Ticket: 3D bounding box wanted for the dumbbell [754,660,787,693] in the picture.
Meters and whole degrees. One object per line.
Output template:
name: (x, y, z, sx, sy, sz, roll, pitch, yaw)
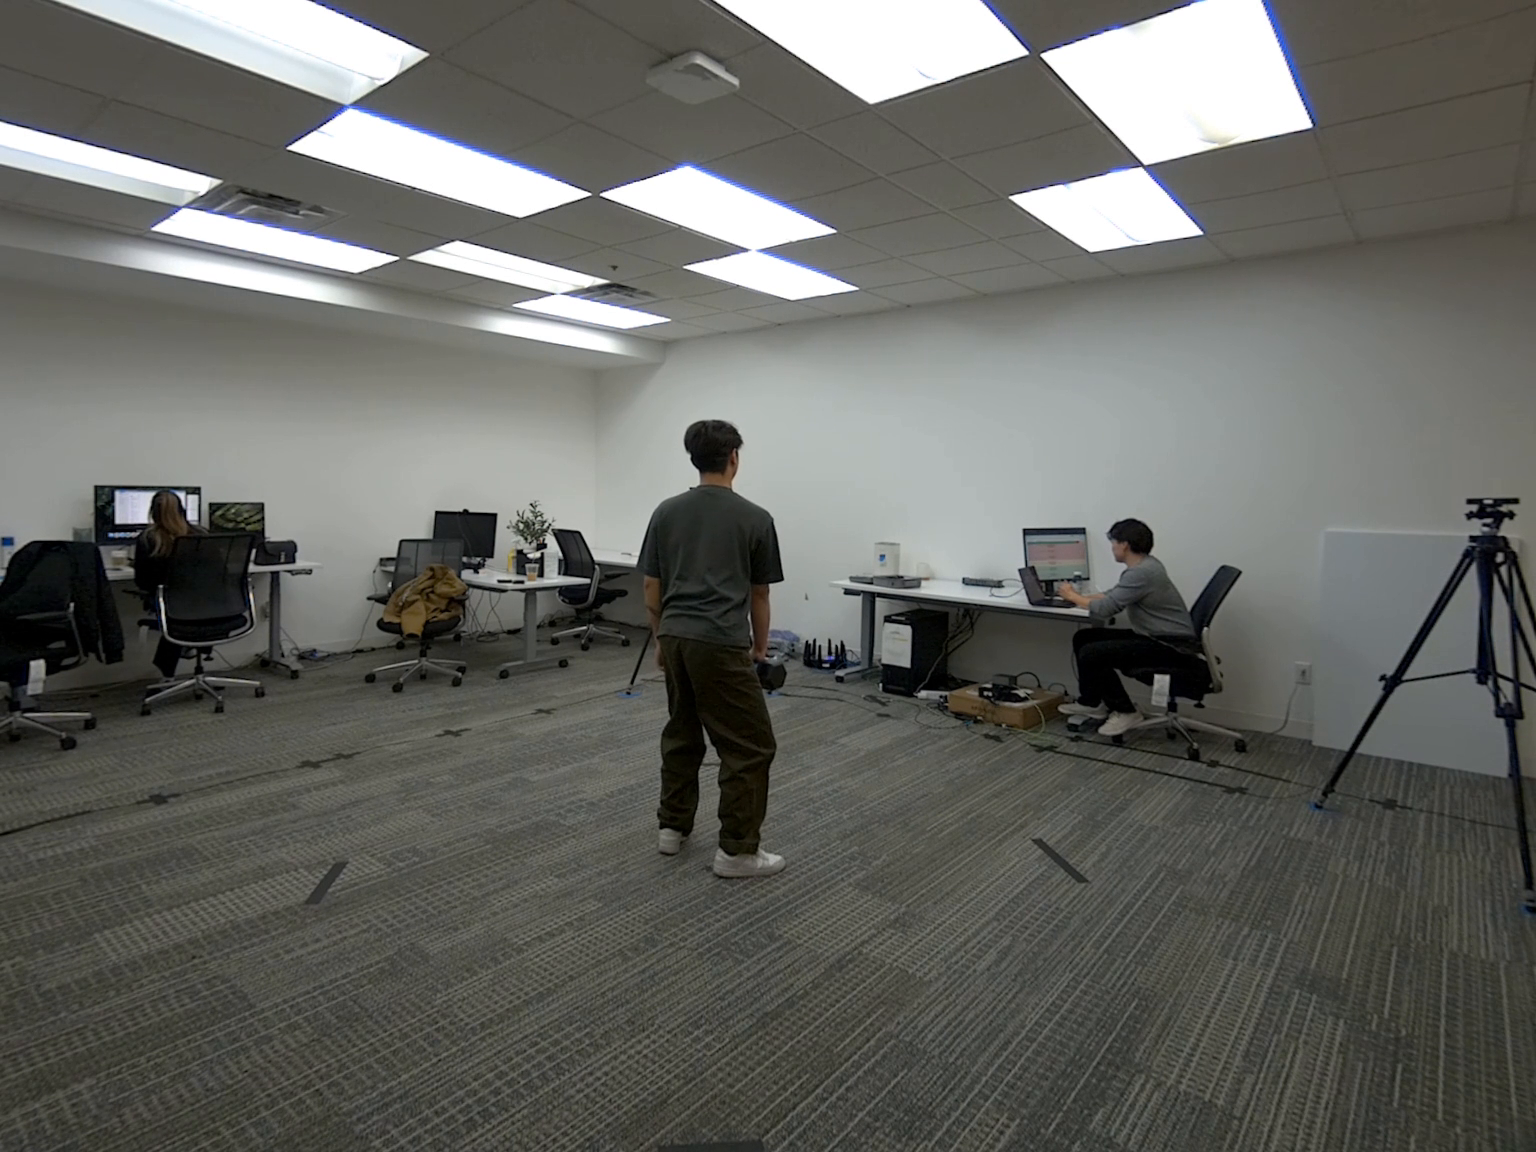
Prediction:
dumbbell: (-0.080, 0.371, 3.325, 0.304, 0.124, 0.104, 7, -19, 42)
